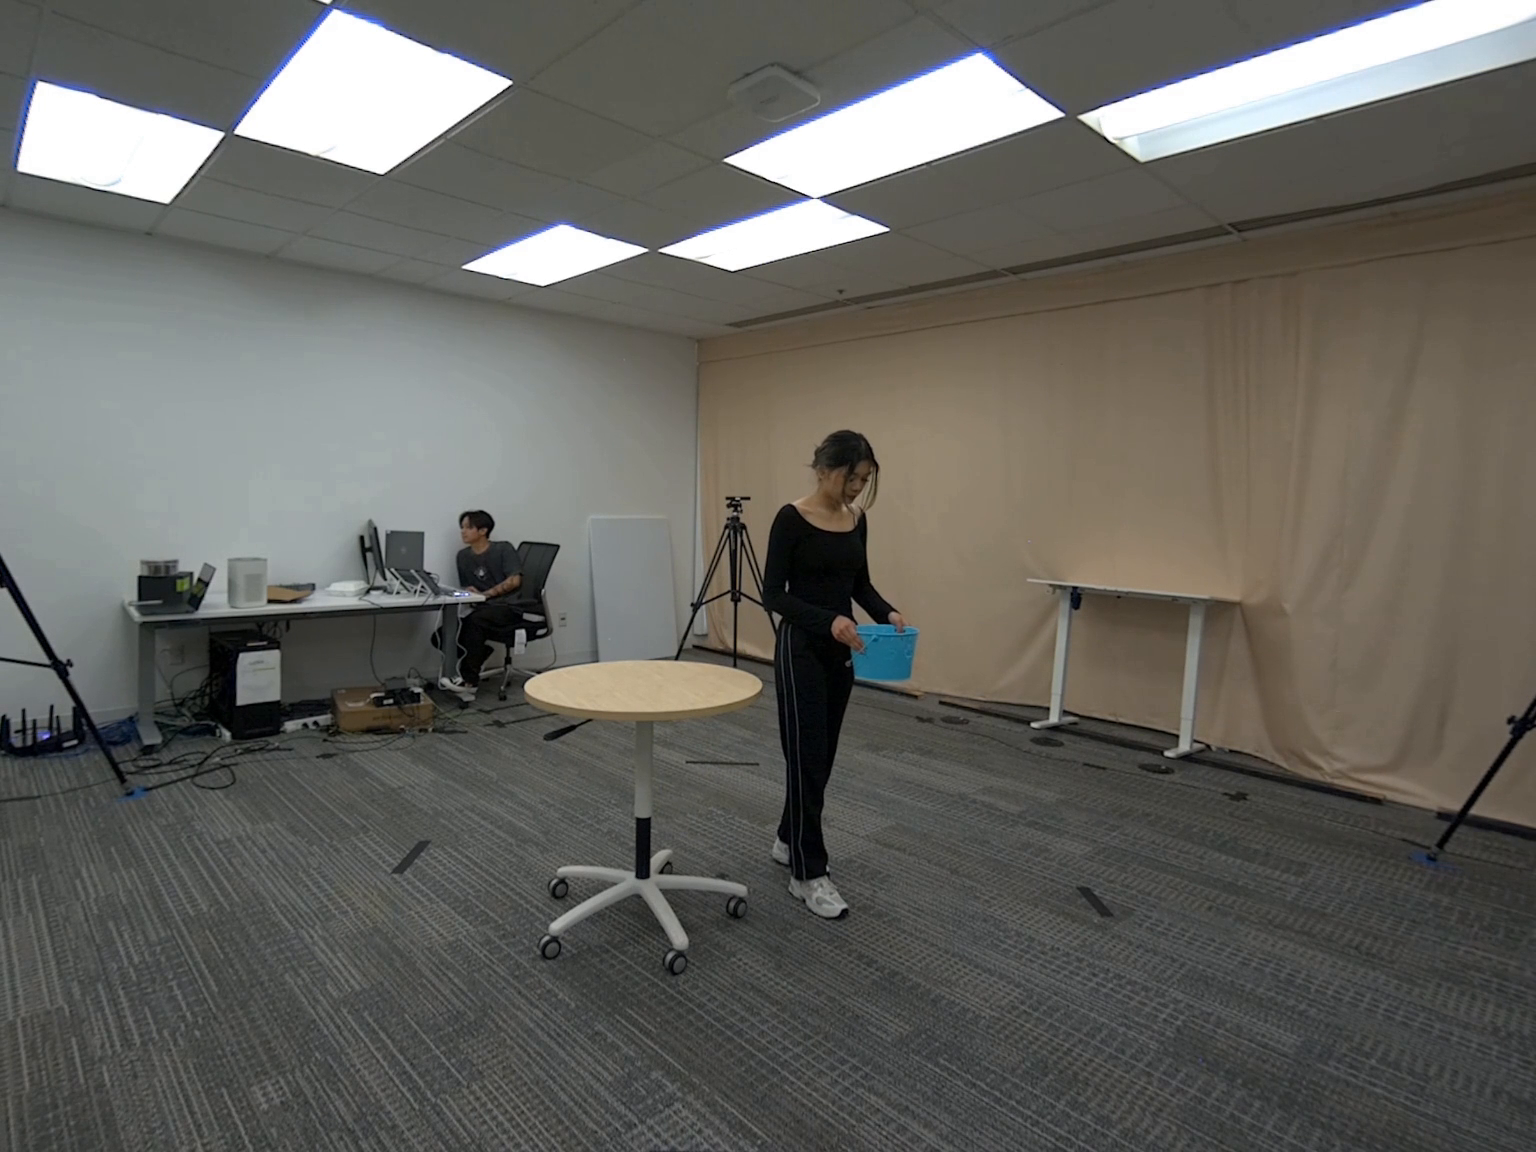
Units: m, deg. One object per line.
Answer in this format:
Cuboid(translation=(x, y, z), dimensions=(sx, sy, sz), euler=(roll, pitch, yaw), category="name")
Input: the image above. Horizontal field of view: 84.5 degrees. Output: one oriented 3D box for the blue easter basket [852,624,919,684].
Cuboid(translation=(0.351, 0.252, 2.731), dimensions=(0.243, 0.155, 0.244), euler=(0, 4, -1), category="blue easter basket")
